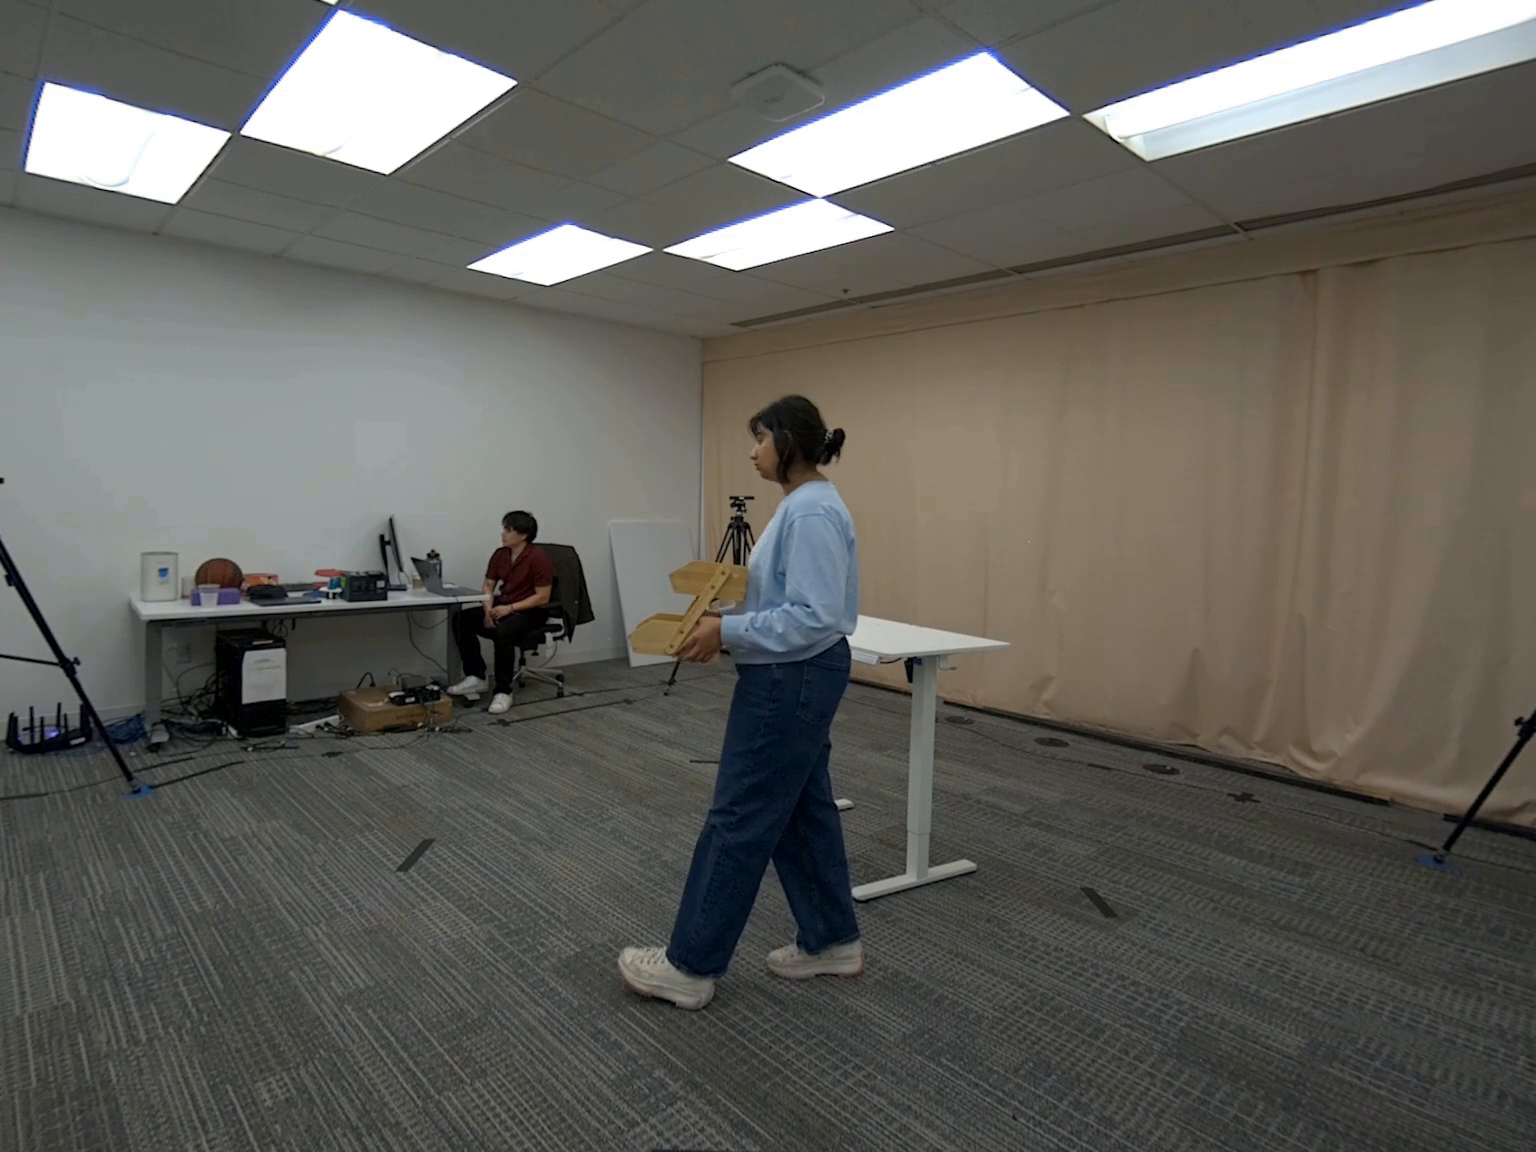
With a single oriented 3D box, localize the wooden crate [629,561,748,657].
[{"bbox_3d":[-0.232,0.083,2.390,0.301,0.273,0.325,7,0,-4],"label":"wooden crate"}]
